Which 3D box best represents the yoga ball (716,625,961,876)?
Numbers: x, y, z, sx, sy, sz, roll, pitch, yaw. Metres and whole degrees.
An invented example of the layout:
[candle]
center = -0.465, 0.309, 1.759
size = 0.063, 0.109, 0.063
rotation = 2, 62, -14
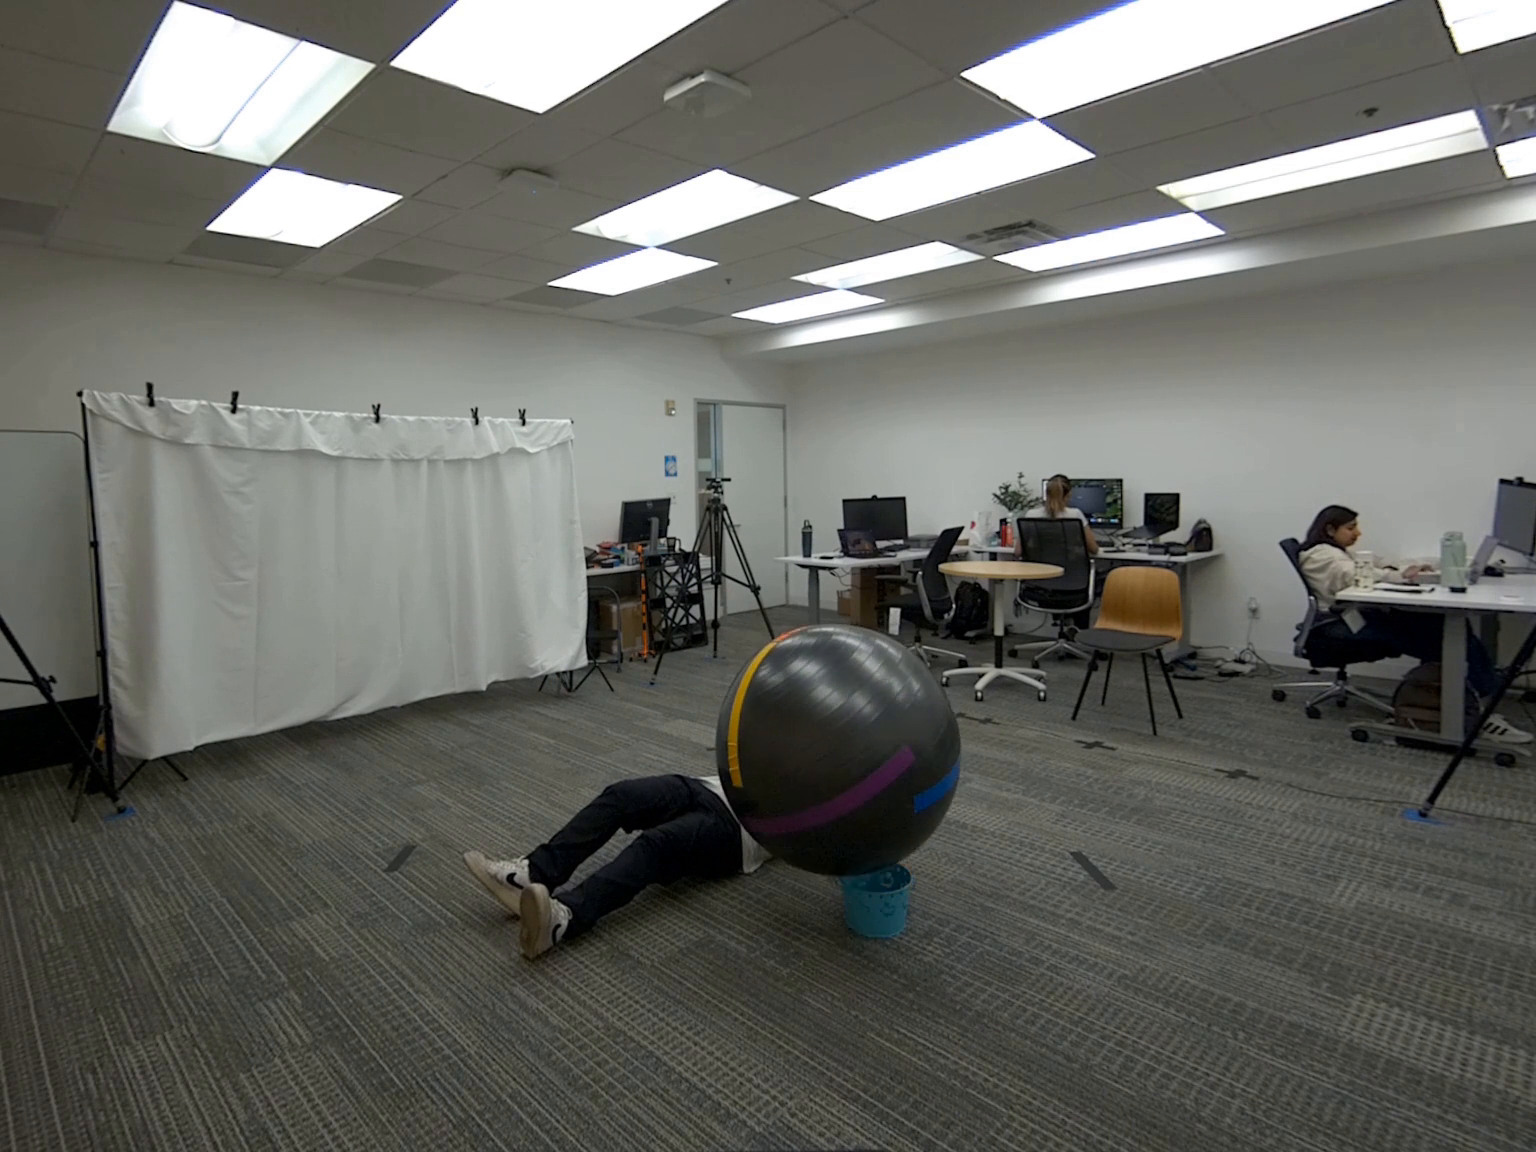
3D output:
[yoga ball]
center = 0.222, 0.527, 2.670
size = 0.757, 0.755, 0.762
rotation = -1, 5, -2
